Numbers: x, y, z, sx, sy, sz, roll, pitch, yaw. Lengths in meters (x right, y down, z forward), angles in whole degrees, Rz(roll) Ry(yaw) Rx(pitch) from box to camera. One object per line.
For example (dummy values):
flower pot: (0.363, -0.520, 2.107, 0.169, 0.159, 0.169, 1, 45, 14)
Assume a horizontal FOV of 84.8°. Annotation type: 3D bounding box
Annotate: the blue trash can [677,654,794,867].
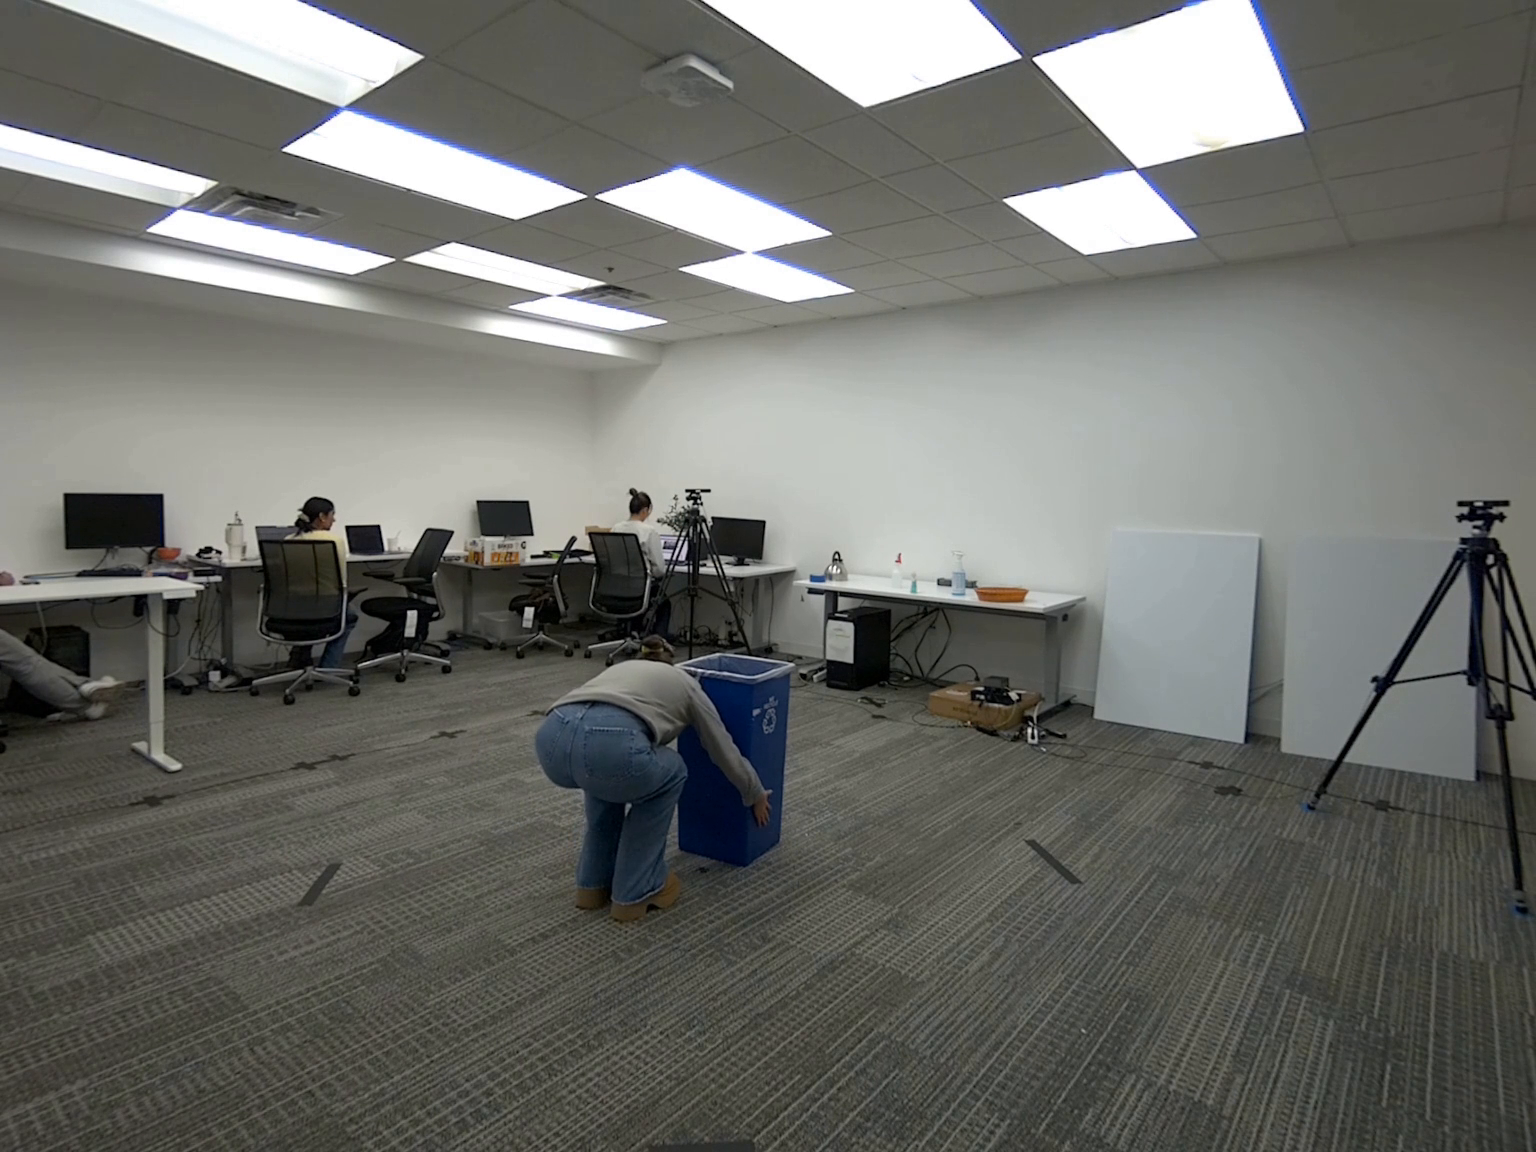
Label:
blue trash can: (-0.149, 0.694, 3.332, 0.389, 0.711, 0.364, 4, 4, 29)
